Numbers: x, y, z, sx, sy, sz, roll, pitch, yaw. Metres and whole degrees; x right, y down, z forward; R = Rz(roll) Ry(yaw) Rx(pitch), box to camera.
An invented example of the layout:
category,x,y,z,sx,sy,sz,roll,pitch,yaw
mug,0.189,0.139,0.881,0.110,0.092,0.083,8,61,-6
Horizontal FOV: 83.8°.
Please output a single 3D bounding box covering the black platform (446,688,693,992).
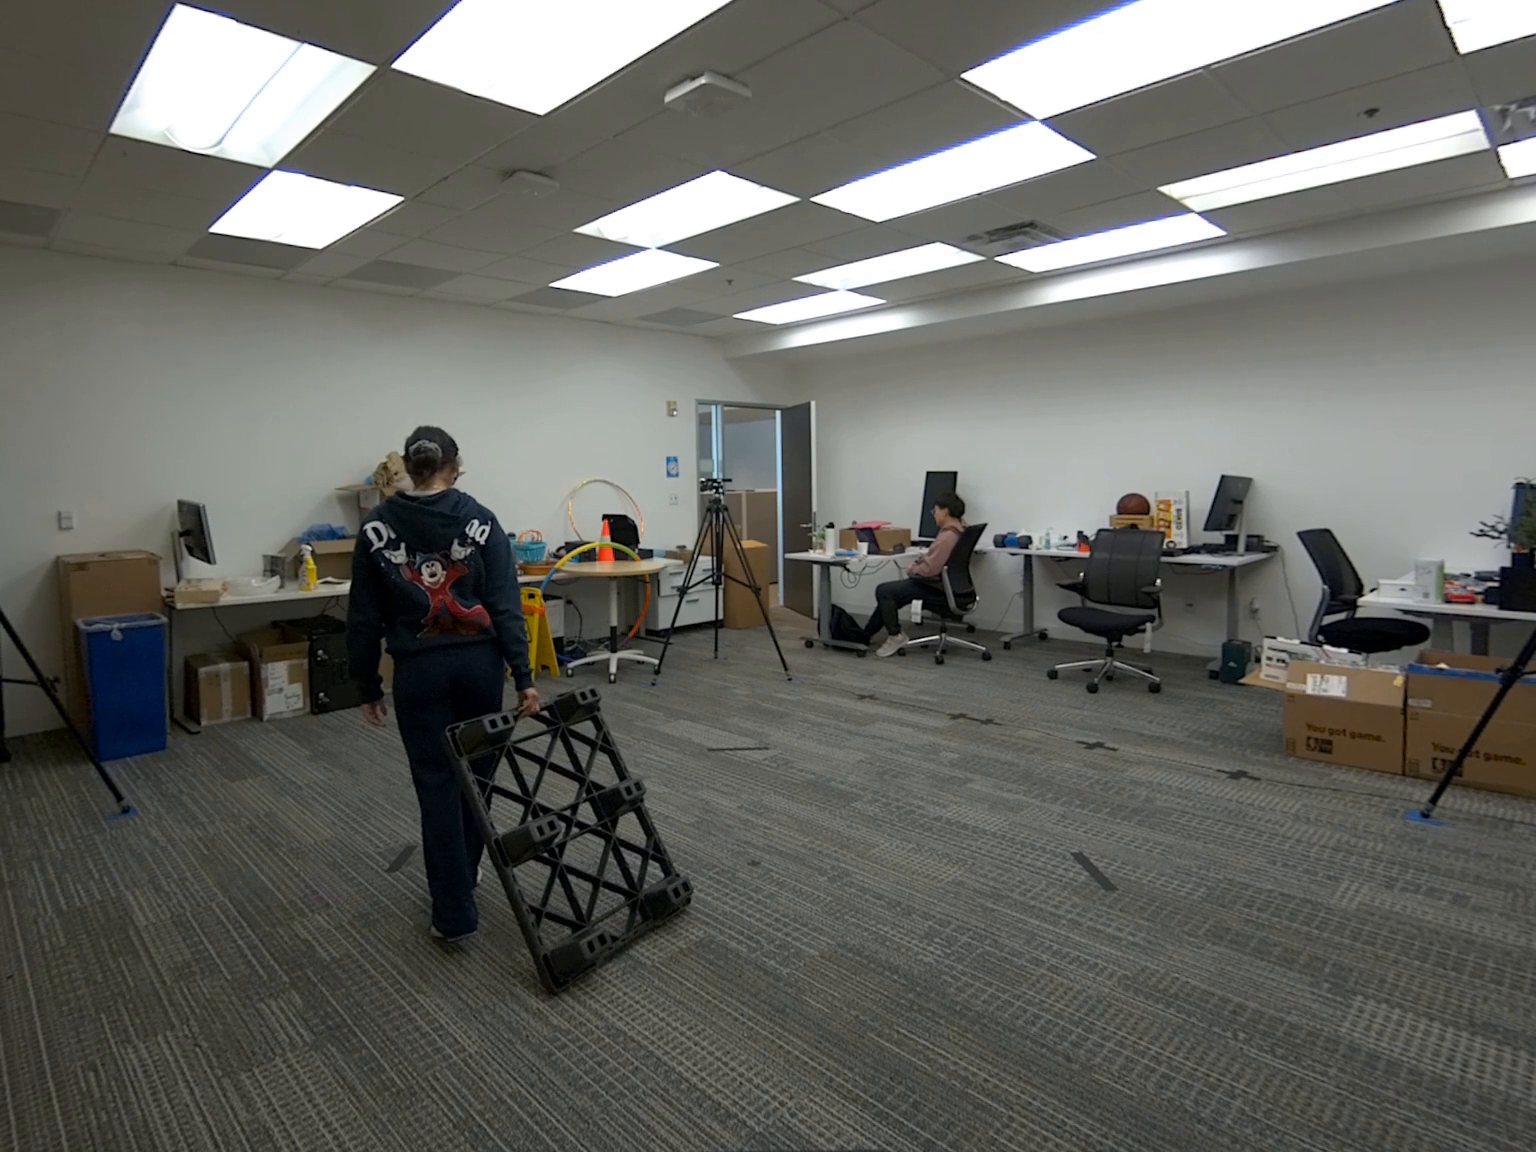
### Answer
category,x,y,z,sx,sy,sz,roll,pitch,yaw
black platform,-0.580,0.743,2.653,0.144,0.822,0.591,-40,-18,32
